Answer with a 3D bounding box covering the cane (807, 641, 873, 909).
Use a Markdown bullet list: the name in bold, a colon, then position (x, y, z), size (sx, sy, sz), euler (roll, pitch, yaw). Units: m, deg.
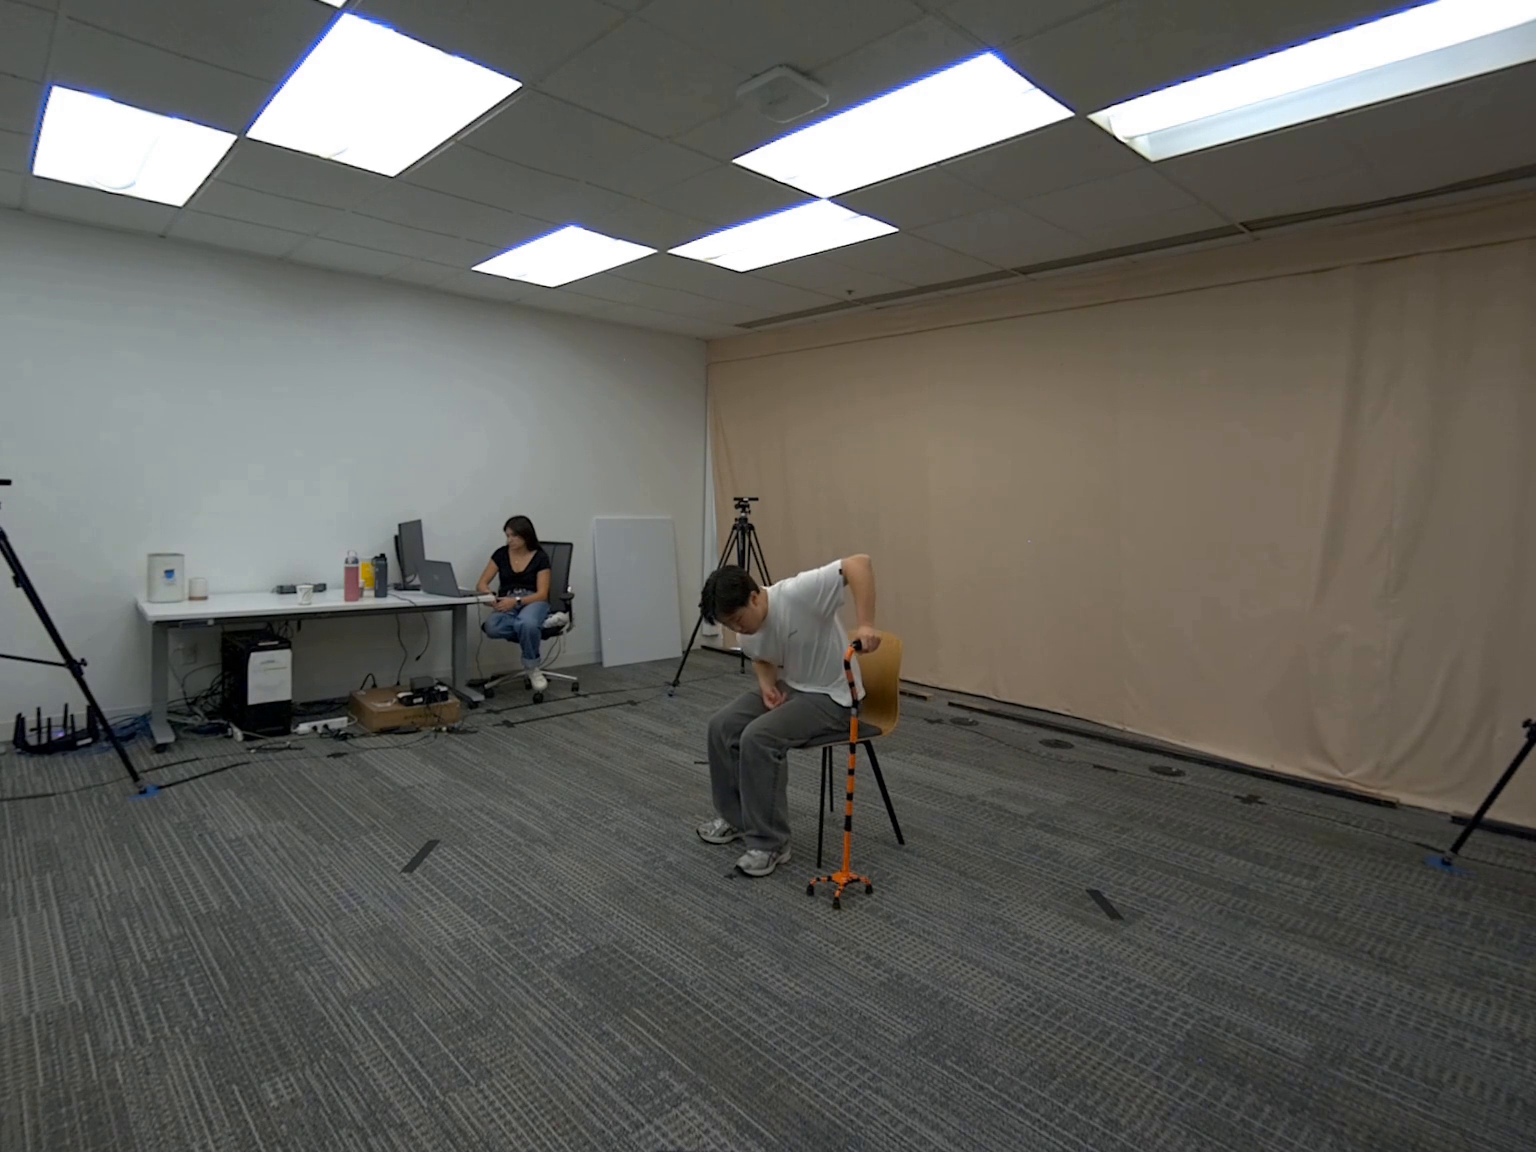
- **cane**: position (0.269, 0.674, 2.941), size (0.202, 0.905, 0.155), euler (-1, 5, -42)
